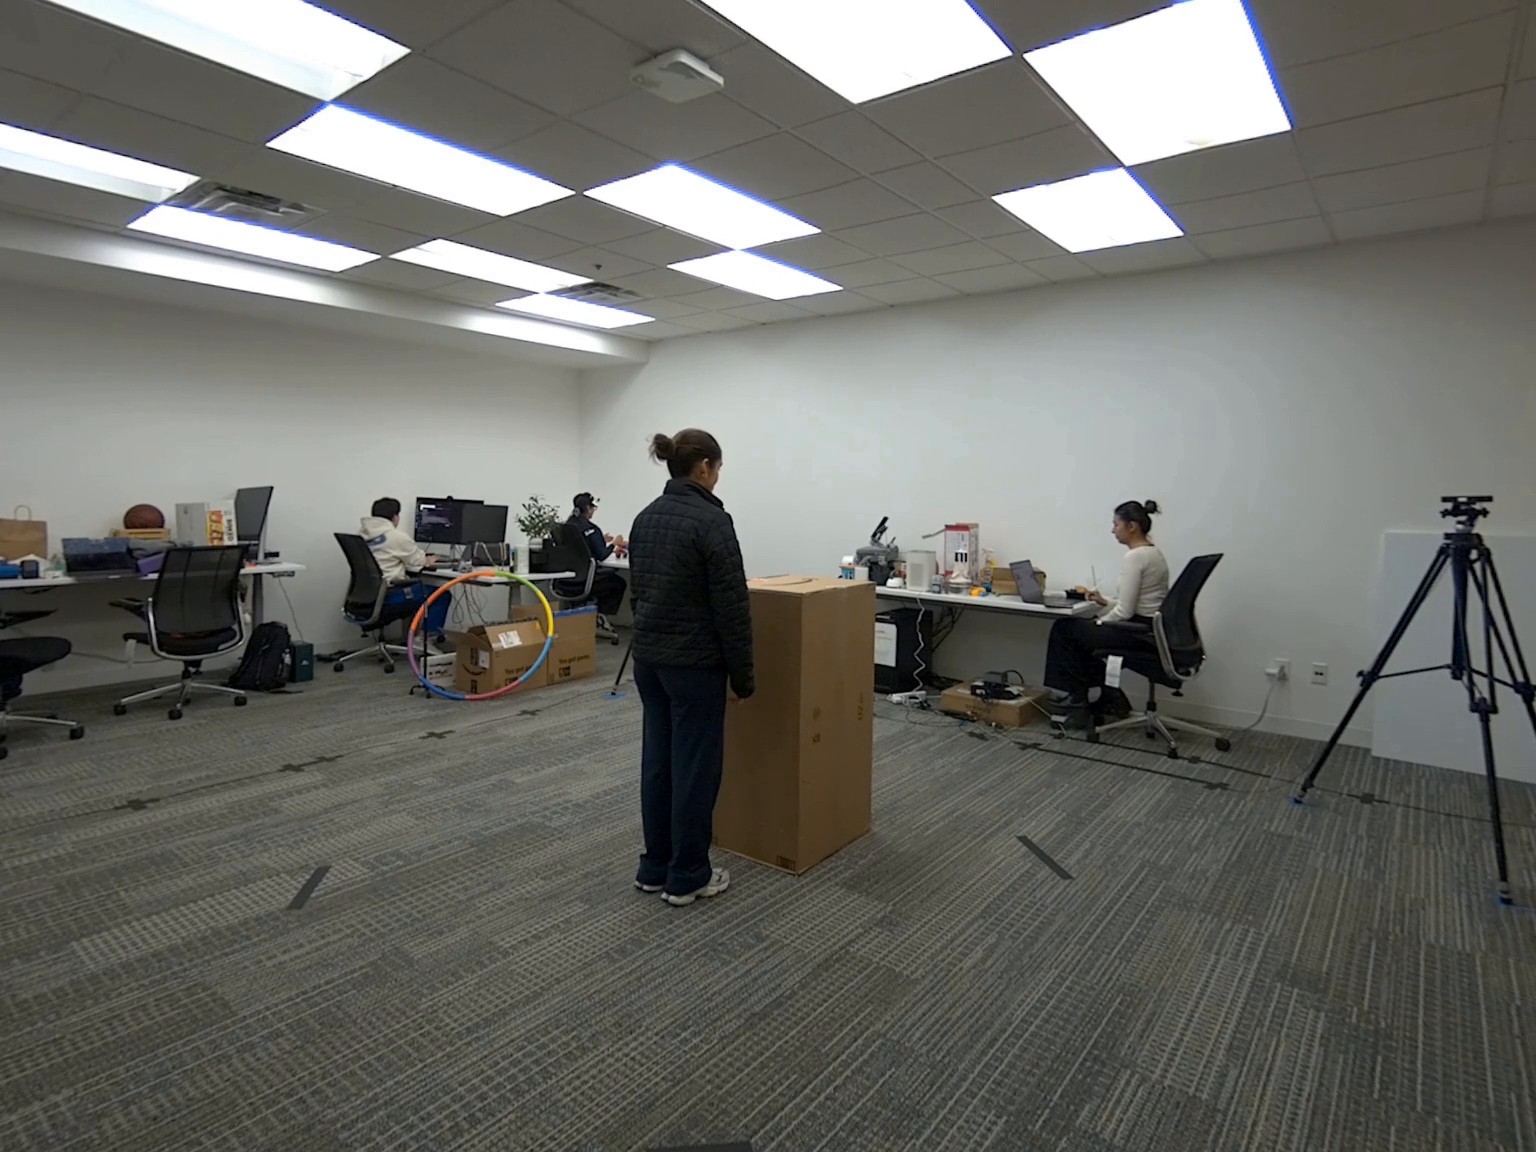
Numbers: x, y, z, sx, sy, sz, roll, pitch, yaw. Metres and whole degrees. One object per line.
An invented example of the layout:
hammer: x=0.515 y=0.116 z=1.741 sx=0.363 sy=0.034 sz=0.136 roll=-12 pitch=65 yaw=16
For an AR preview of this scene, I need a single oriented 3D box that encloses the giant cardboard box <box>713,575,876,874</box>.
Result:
giant cardboard box: x=0.118 y=0.535 z=3.393 sx=0.440 sy=1.023 sz=0.561 roll=3 pitch=4 yaw=37
